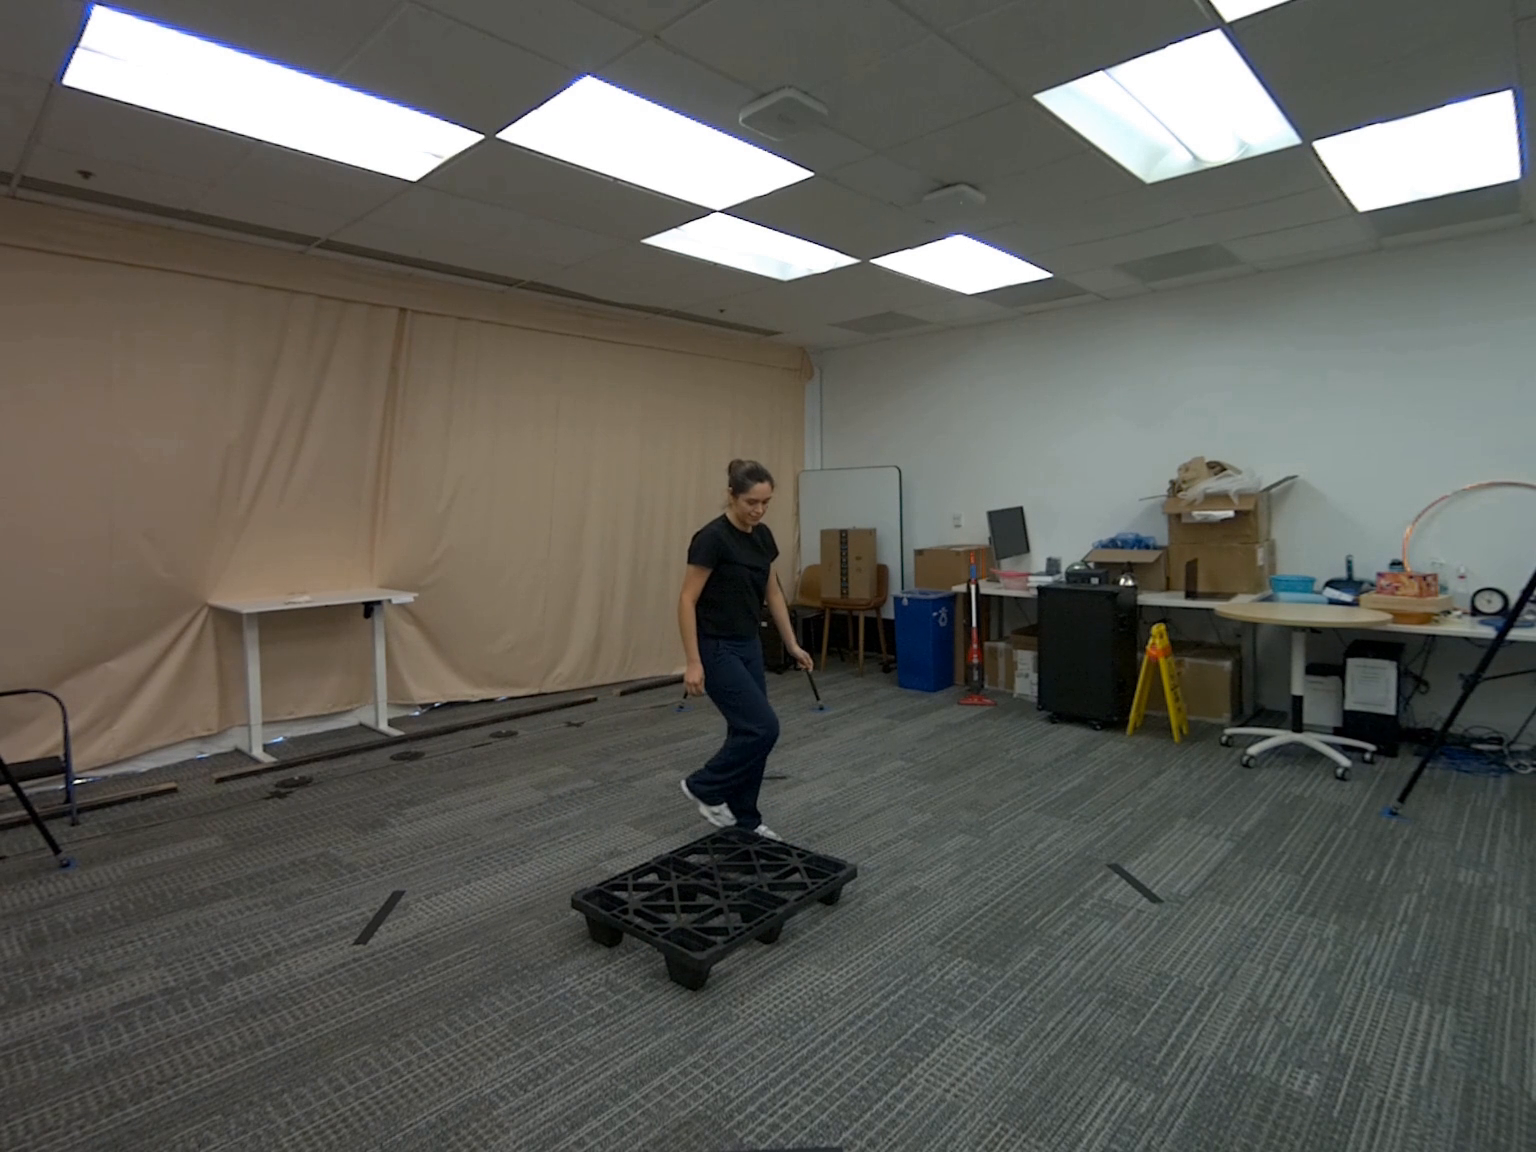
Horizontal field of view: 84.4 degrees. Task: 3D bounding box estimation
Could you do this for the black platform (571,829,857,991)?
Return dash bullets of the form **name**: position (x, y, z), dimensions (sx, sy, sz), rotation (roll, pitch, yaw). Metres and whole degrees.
- **black platform**: position (-0.156, 1.089, 2.834), dimensions (0.625, 0.143, 0.781), rotation (3, 6, 41)
